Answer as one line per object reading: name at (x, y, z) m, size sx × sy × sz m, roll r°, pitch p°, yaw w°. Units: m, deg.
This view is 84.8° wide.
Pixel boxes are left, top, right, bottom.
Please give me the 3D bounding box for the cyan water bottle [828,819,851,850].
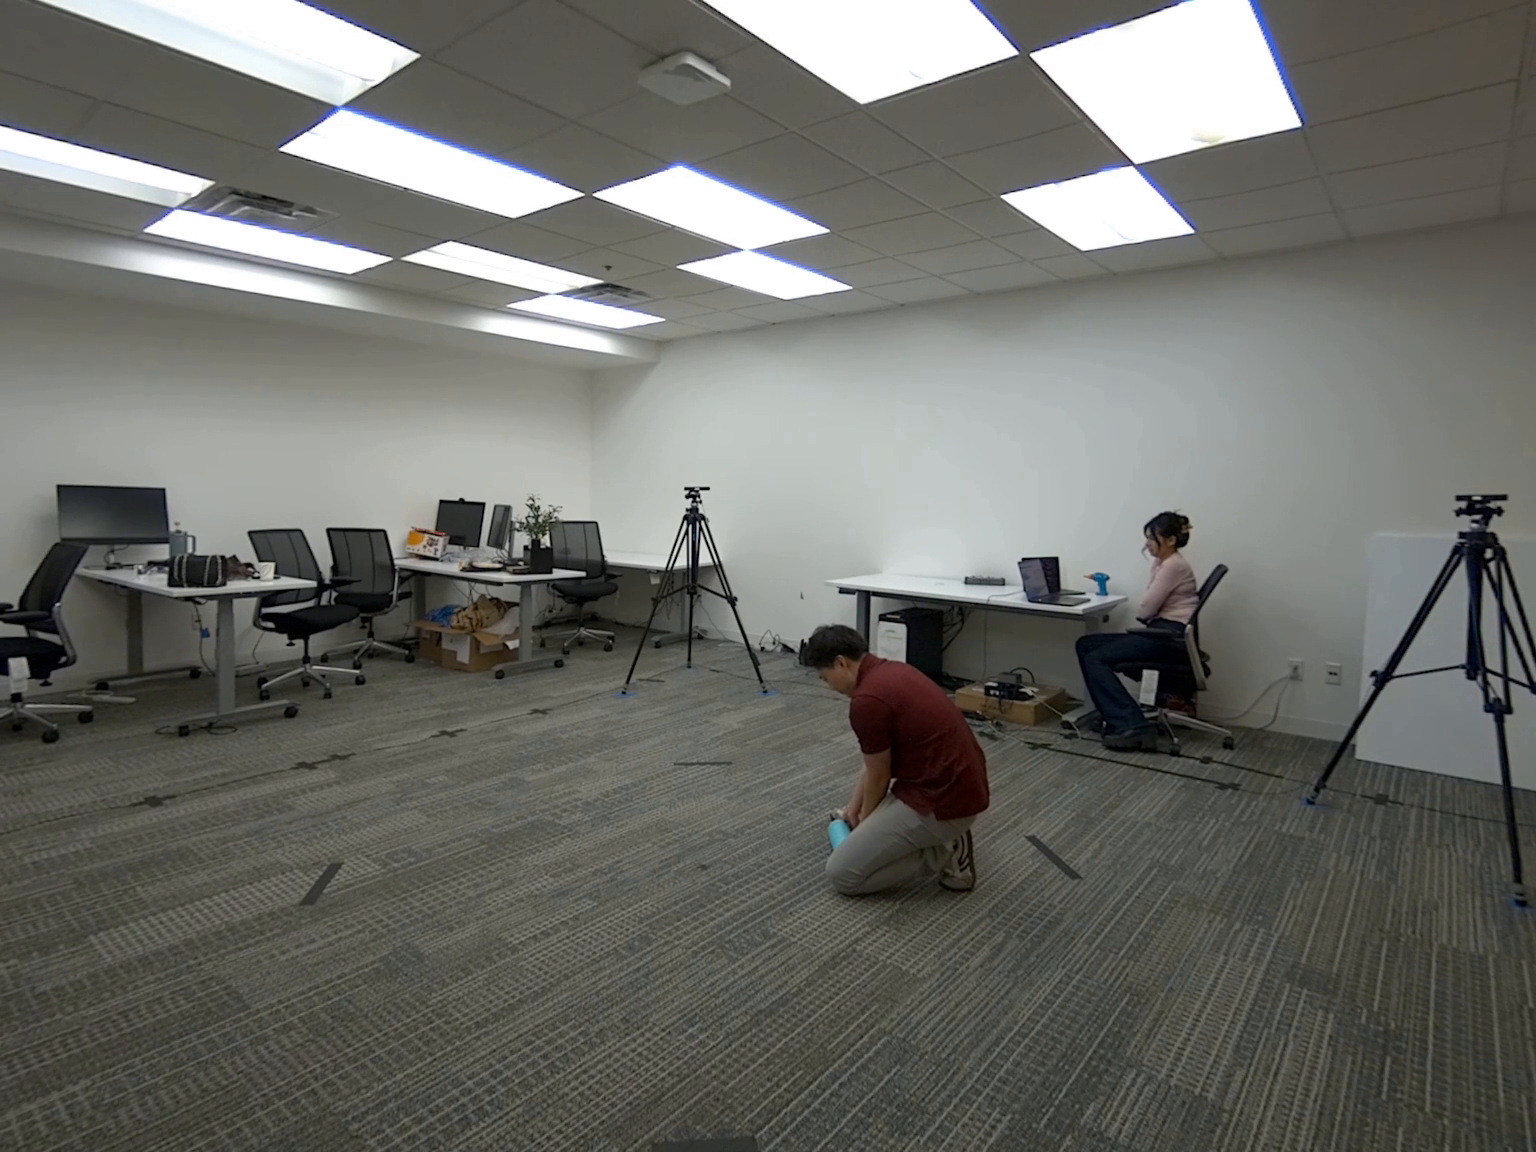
cyan water bottle at (0.288, 1.017, 3.234) m, size 0.092 × 0.092 × 0.285 m, roll 0°, pitch 6°, yaw -4°
